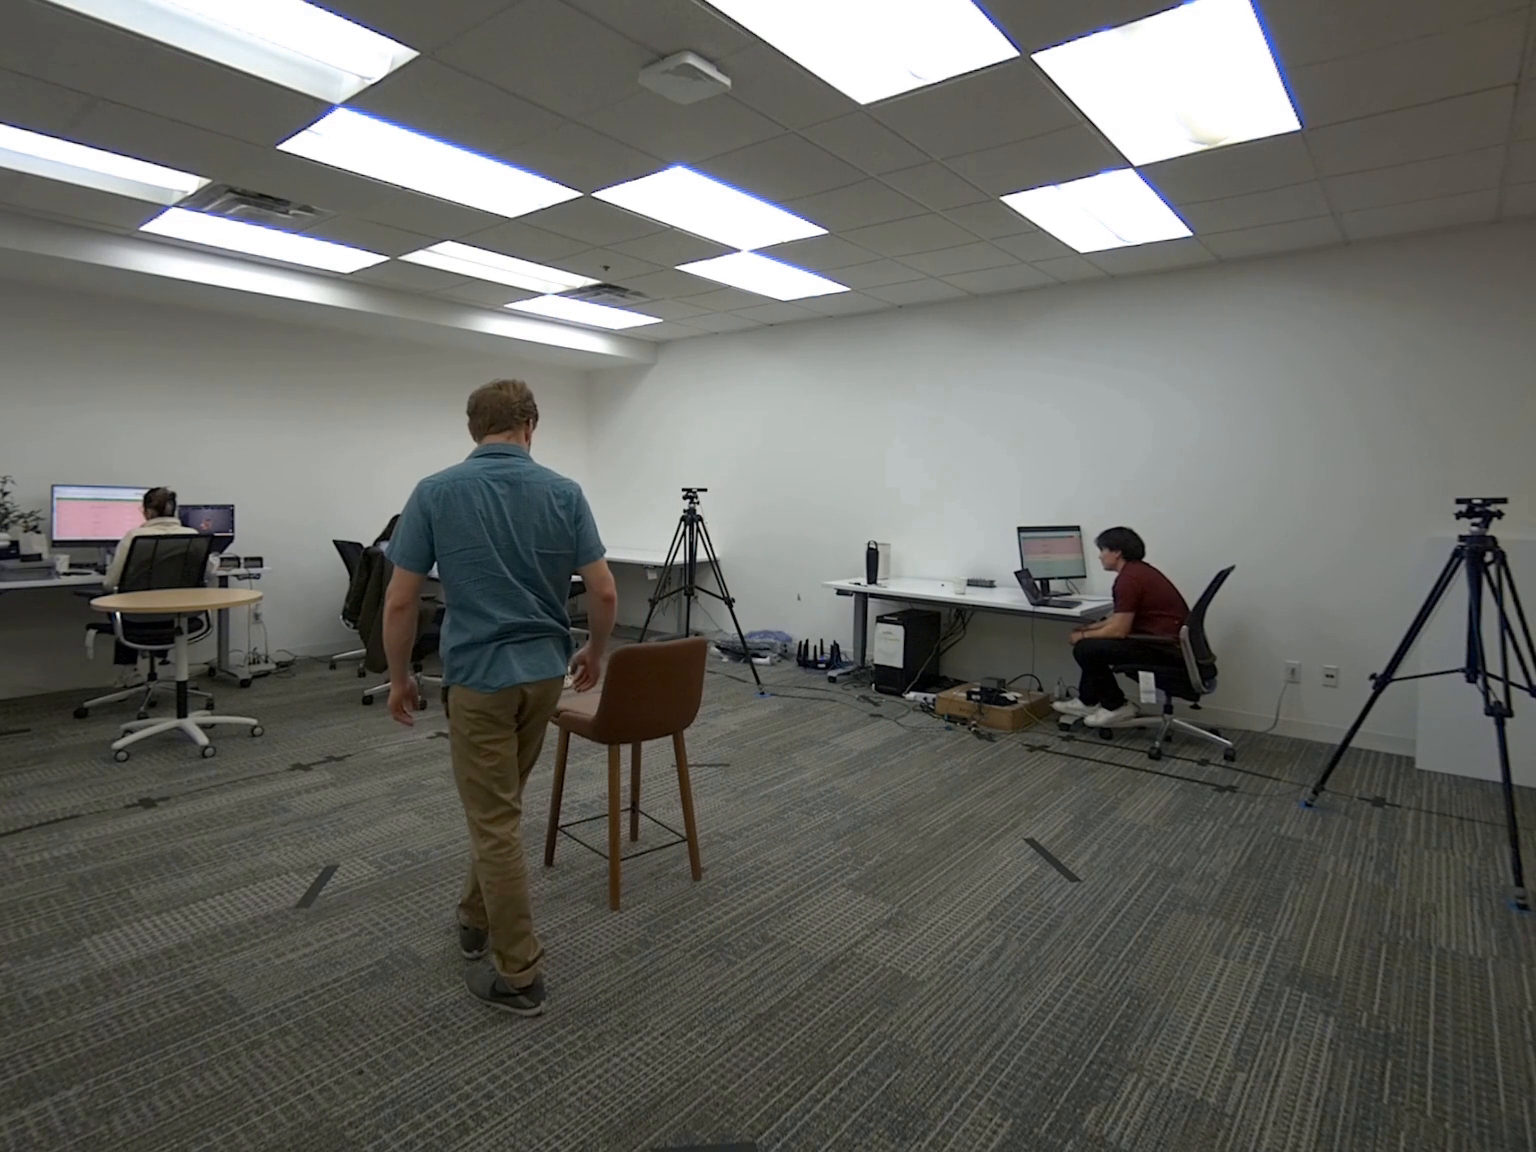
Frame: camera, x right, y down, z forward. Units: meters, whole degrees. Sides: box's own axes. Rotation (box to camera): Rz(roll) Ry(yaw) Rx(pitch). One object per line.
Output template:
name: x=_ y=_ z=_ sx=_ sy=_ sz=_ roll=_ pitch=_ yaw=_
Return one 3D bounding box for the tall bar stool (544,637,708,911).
tall bar stool: x=-0.518 y=0.636 z=3.056 sx=0.442 sy=0.886 sz=0.484 roll=-1 pitch=6 yaw=-42
